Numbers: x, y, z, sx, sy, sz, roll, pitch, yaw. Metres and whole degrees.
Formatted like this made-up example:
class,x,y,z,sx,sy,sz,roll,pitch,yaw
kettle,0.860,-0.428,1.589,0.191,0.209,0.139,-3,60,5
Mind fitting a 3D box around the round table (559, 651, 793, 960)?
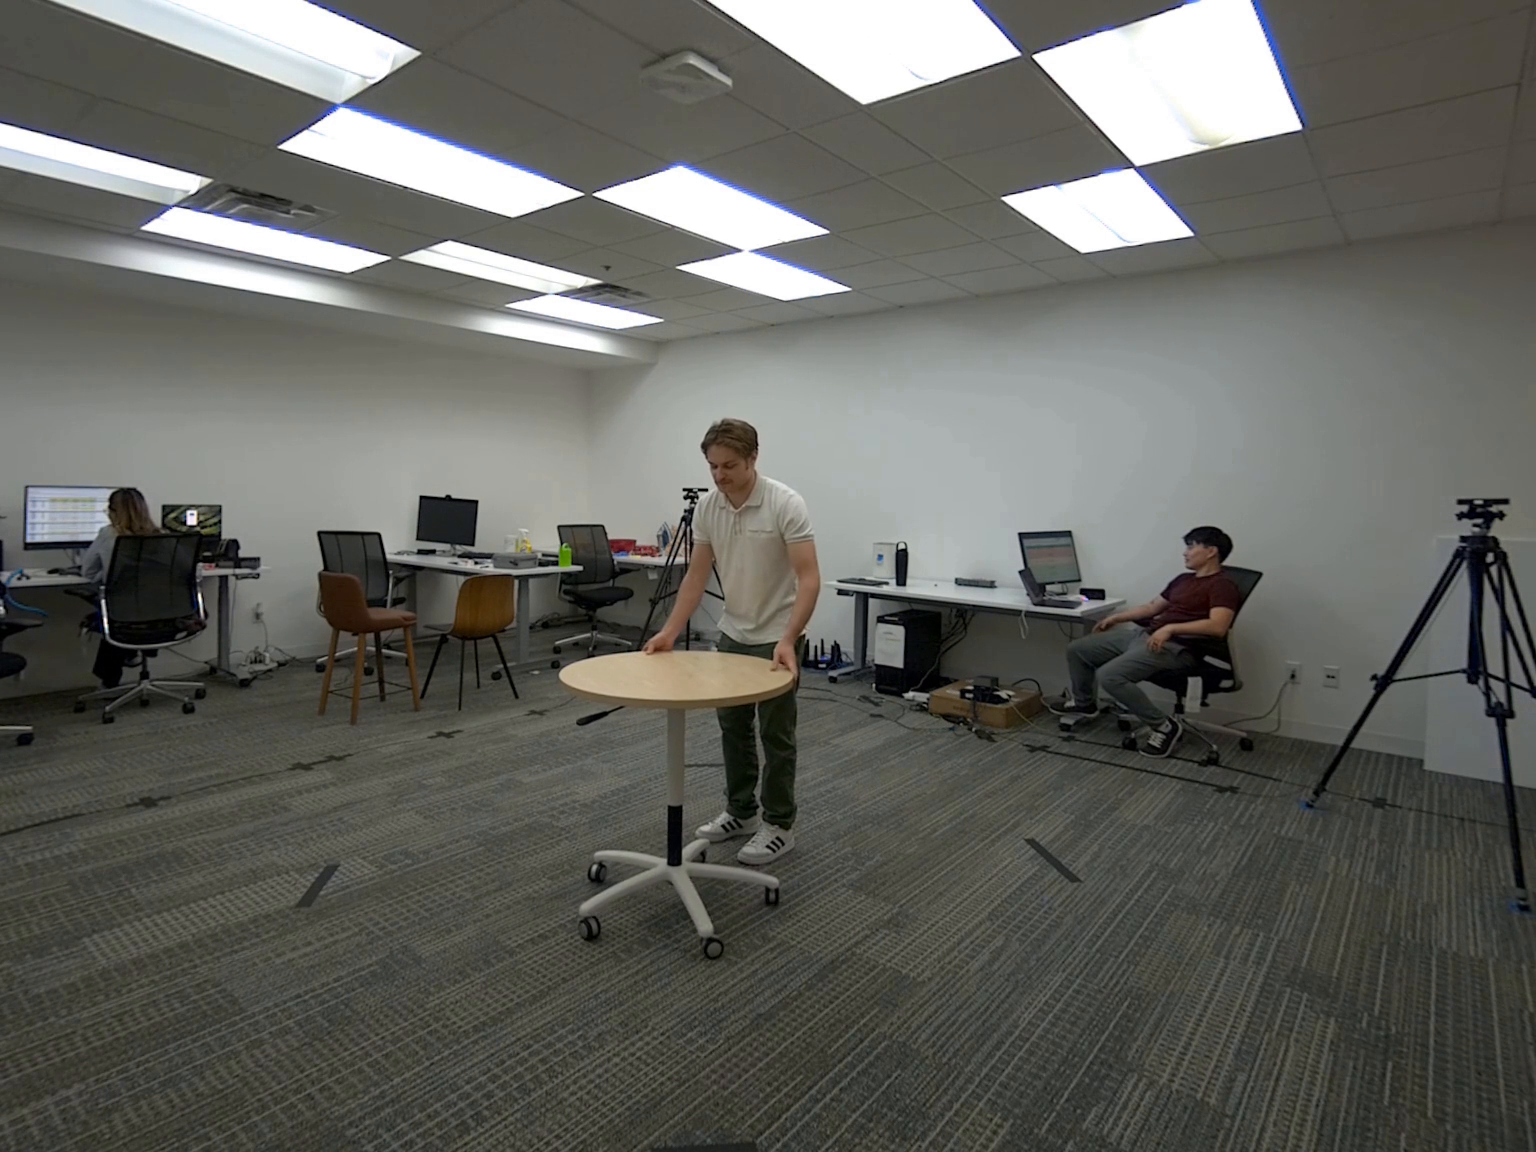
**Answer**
class,x,y,z,sx,sy,sz,roll,pitch,yaw
round table,-0.319,0.706,2.820,0.763,0.792,0.767,0,4,-2
